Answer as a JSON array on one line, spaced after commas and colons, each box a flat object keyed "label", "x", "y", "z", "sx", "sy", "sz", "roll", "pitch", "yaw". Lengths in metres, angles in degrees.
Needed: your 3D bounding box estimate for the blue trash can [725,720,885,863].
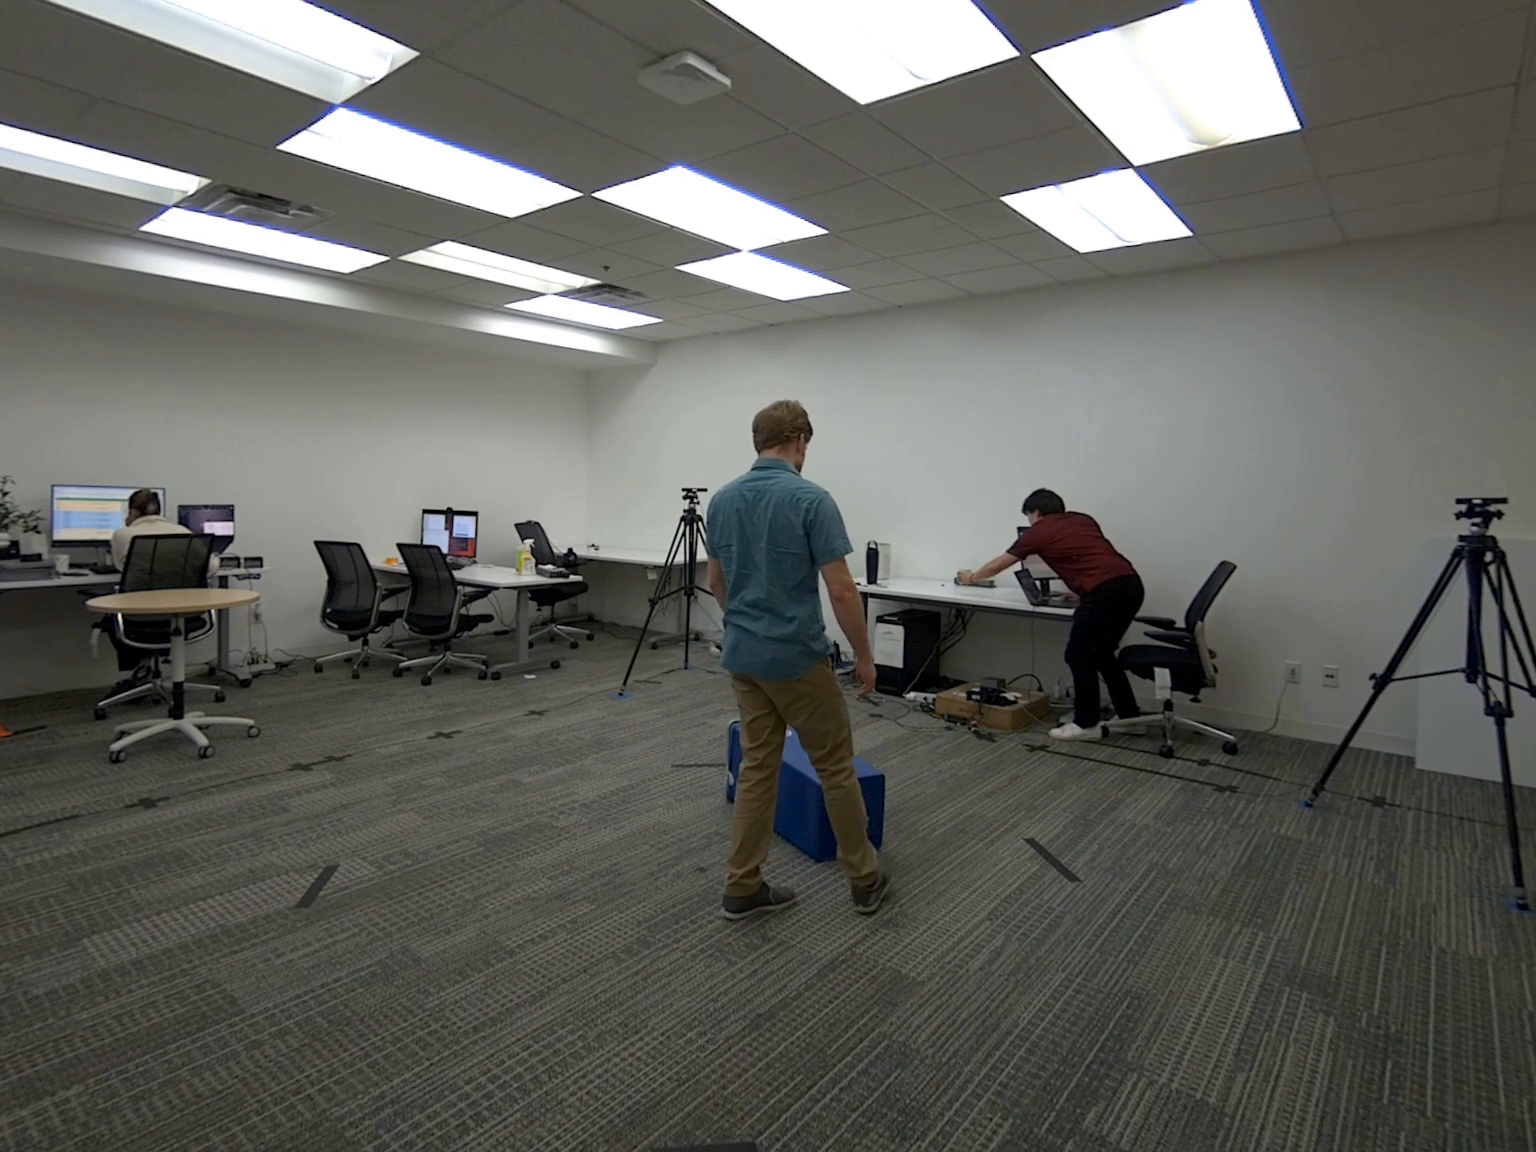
[{"label": "blue trash can", "x": 0.138, "y": 0.866, "z": 3.547, "sx": 0.364, "sy": 0.376, "sz": 0.737, "roll": -1, "pitch": 8, "yaw": -29}]
